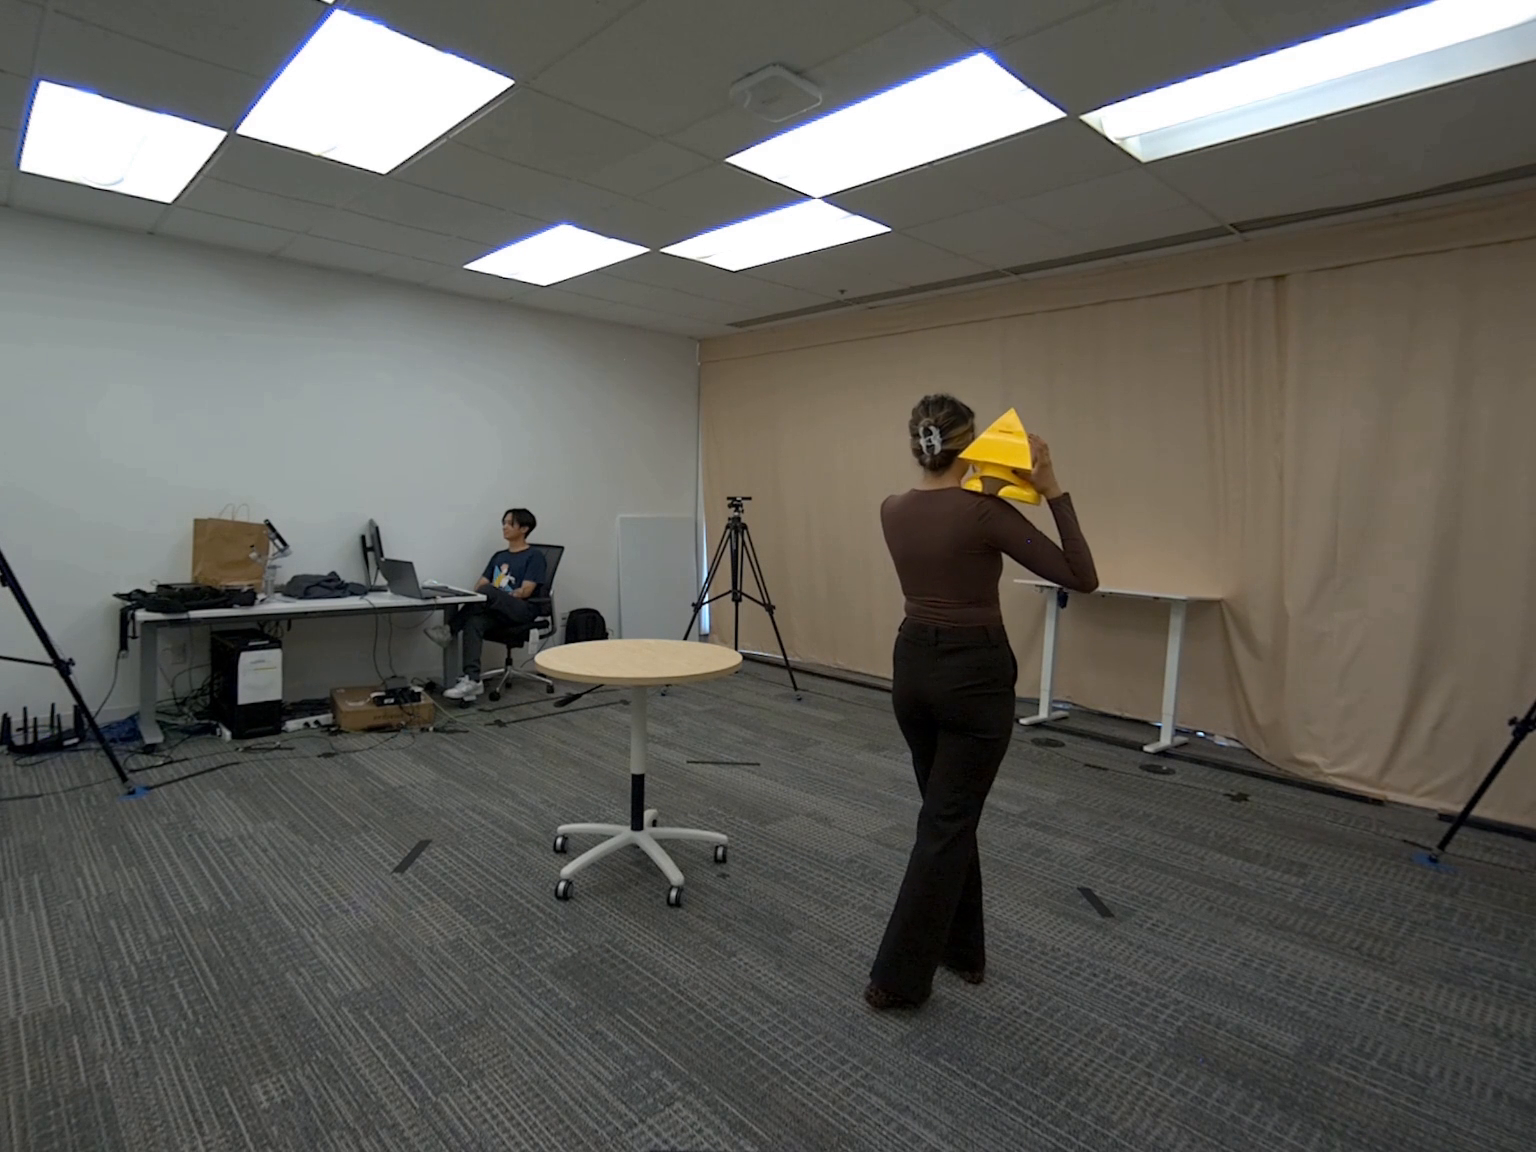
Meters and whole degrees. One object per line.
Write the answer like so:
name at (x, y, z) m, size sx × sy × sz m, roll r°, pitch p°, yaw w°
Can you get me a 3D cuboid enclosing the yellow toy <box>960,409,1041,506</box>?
yellow toy at (0.644, -0.323, 2.251) m, size 0.210 × 0.230 × 0.188 m, roll 17°, pitch 7°, yaw 37°
